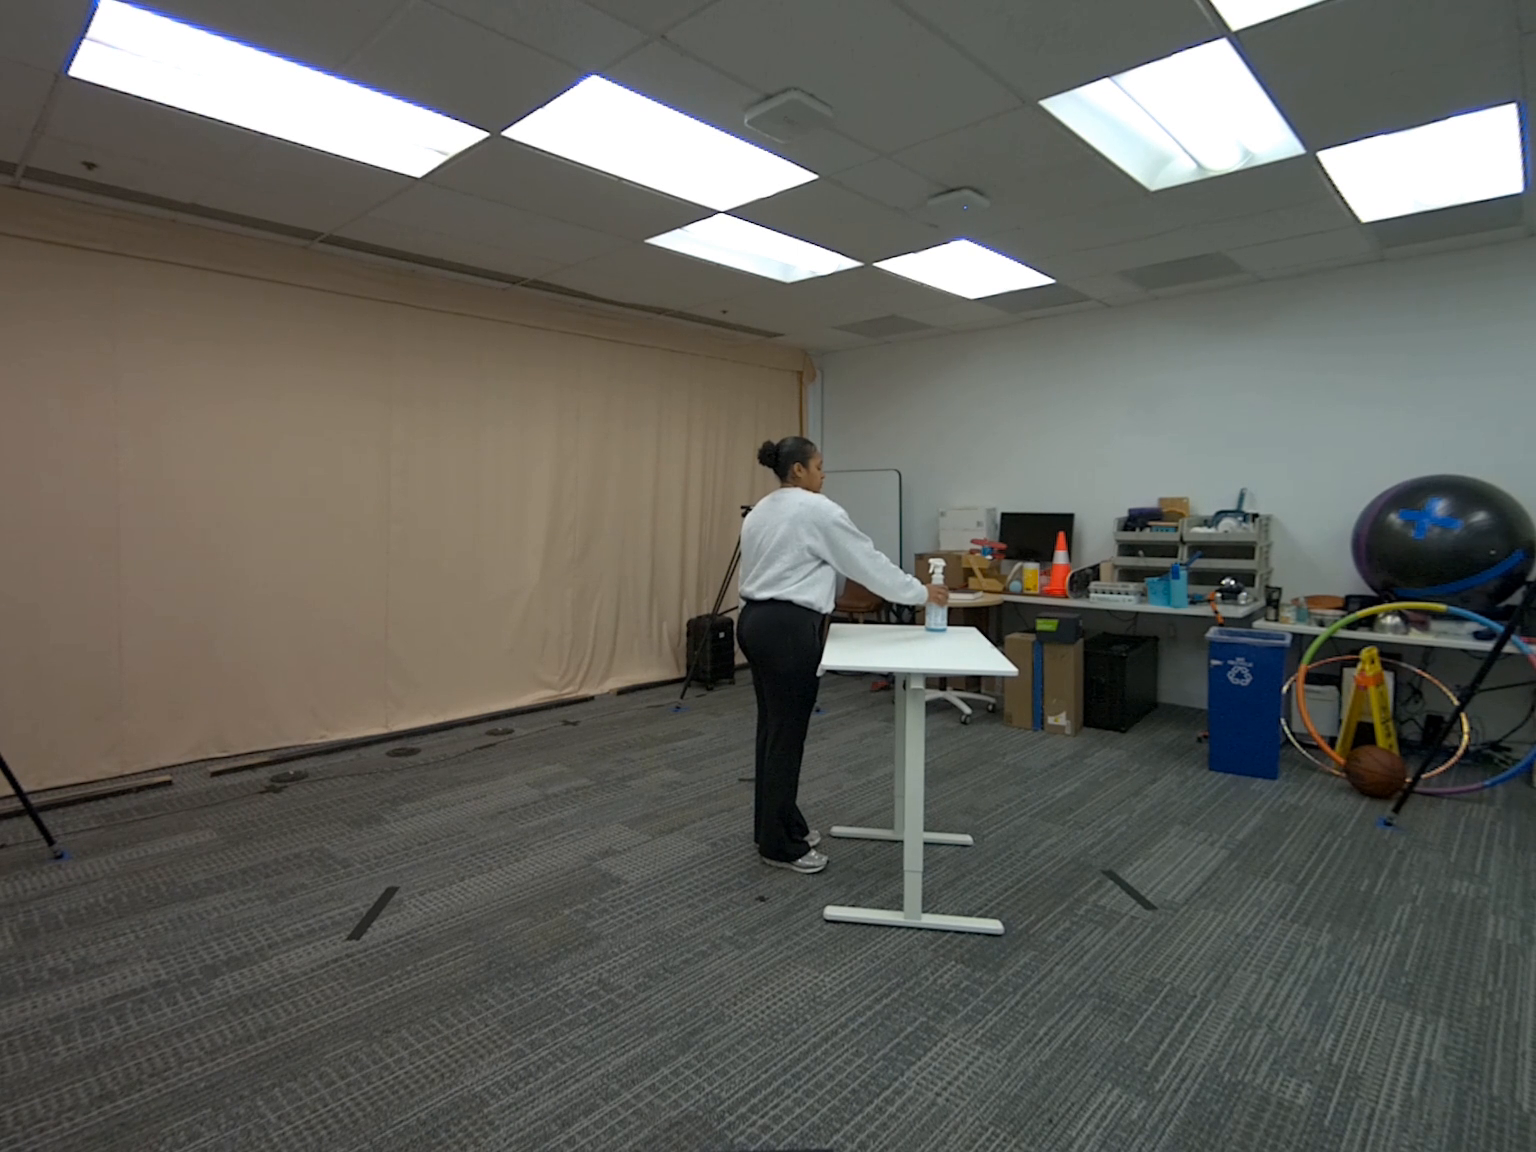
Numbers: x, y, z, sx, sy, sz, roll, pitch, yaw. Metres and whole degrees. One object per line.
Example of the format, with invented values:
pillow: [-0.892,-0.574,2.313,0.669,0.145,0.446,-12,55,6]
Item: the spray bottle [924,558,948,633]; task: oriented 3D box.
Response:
spray bottle: [0.688,0.070,3.422,0.089,0.296,0.088,-2,7,-11]
